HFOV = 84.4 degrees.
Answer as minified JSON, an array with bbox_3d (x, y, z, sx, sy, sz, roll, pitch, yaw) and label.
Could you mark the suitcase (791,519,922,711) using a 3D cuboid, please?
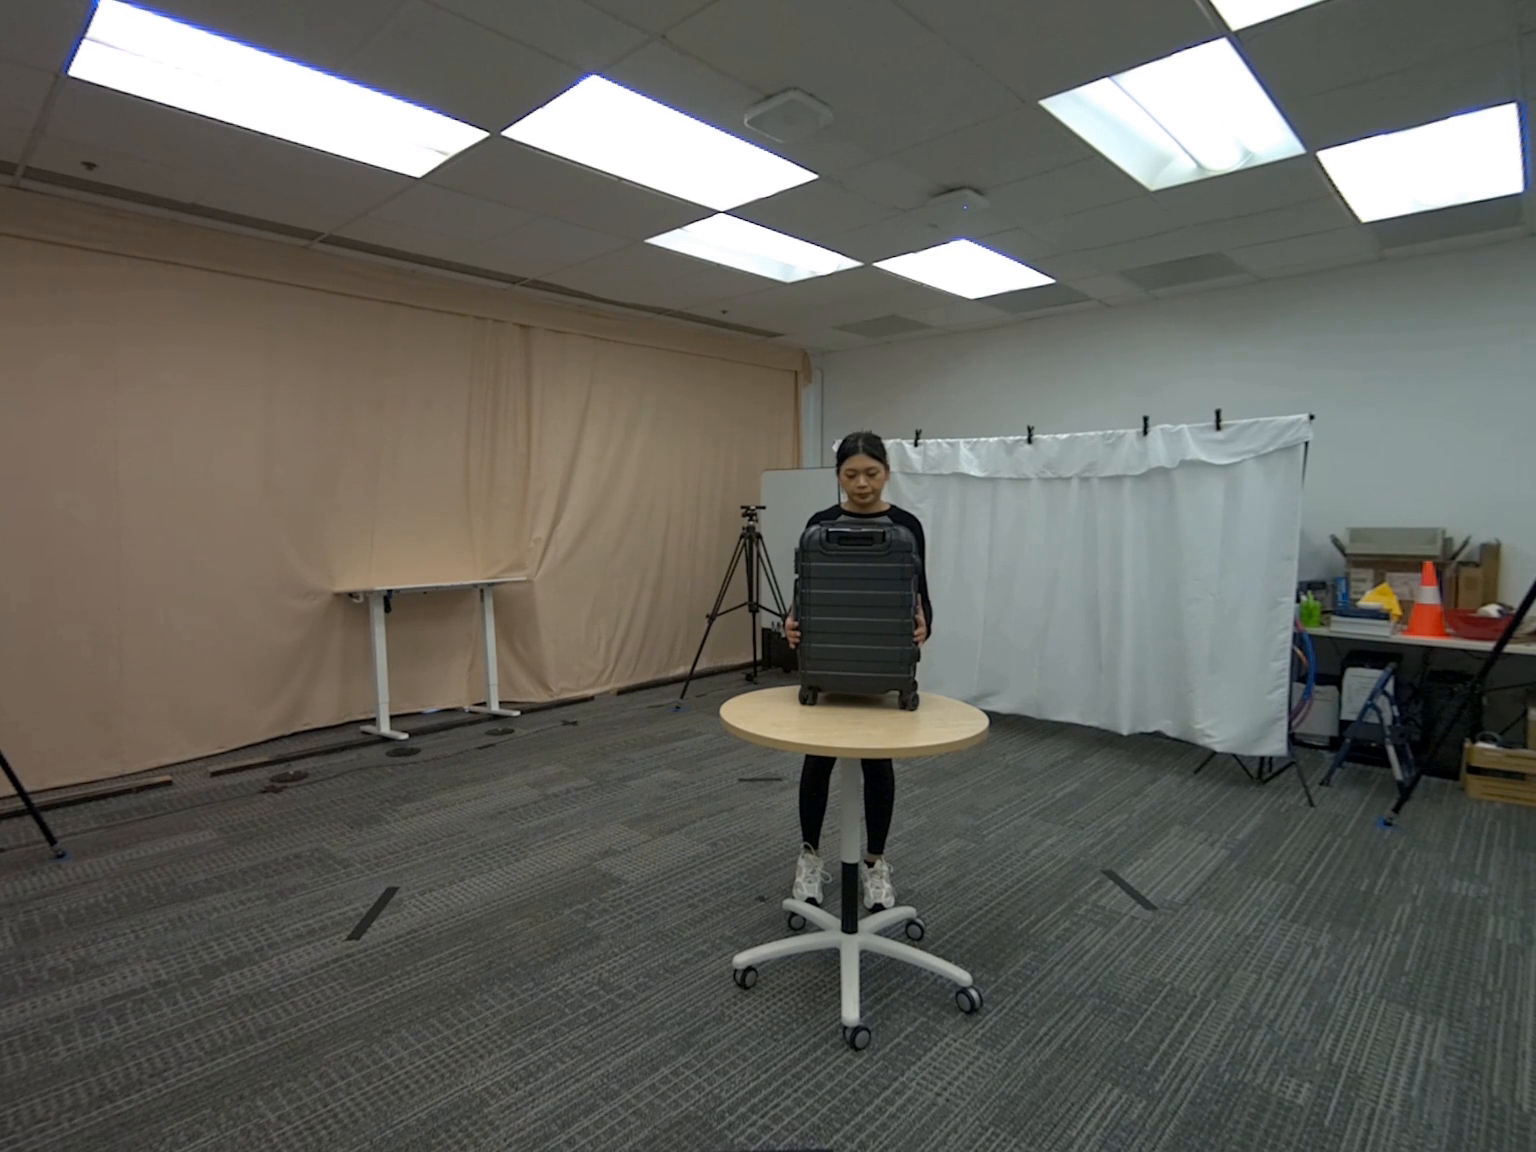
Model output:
[{"bbox_3d":[0.271,0.106,2.585,0.380,0.548,0.246,0,4,12],"label":"suitcase"}]
